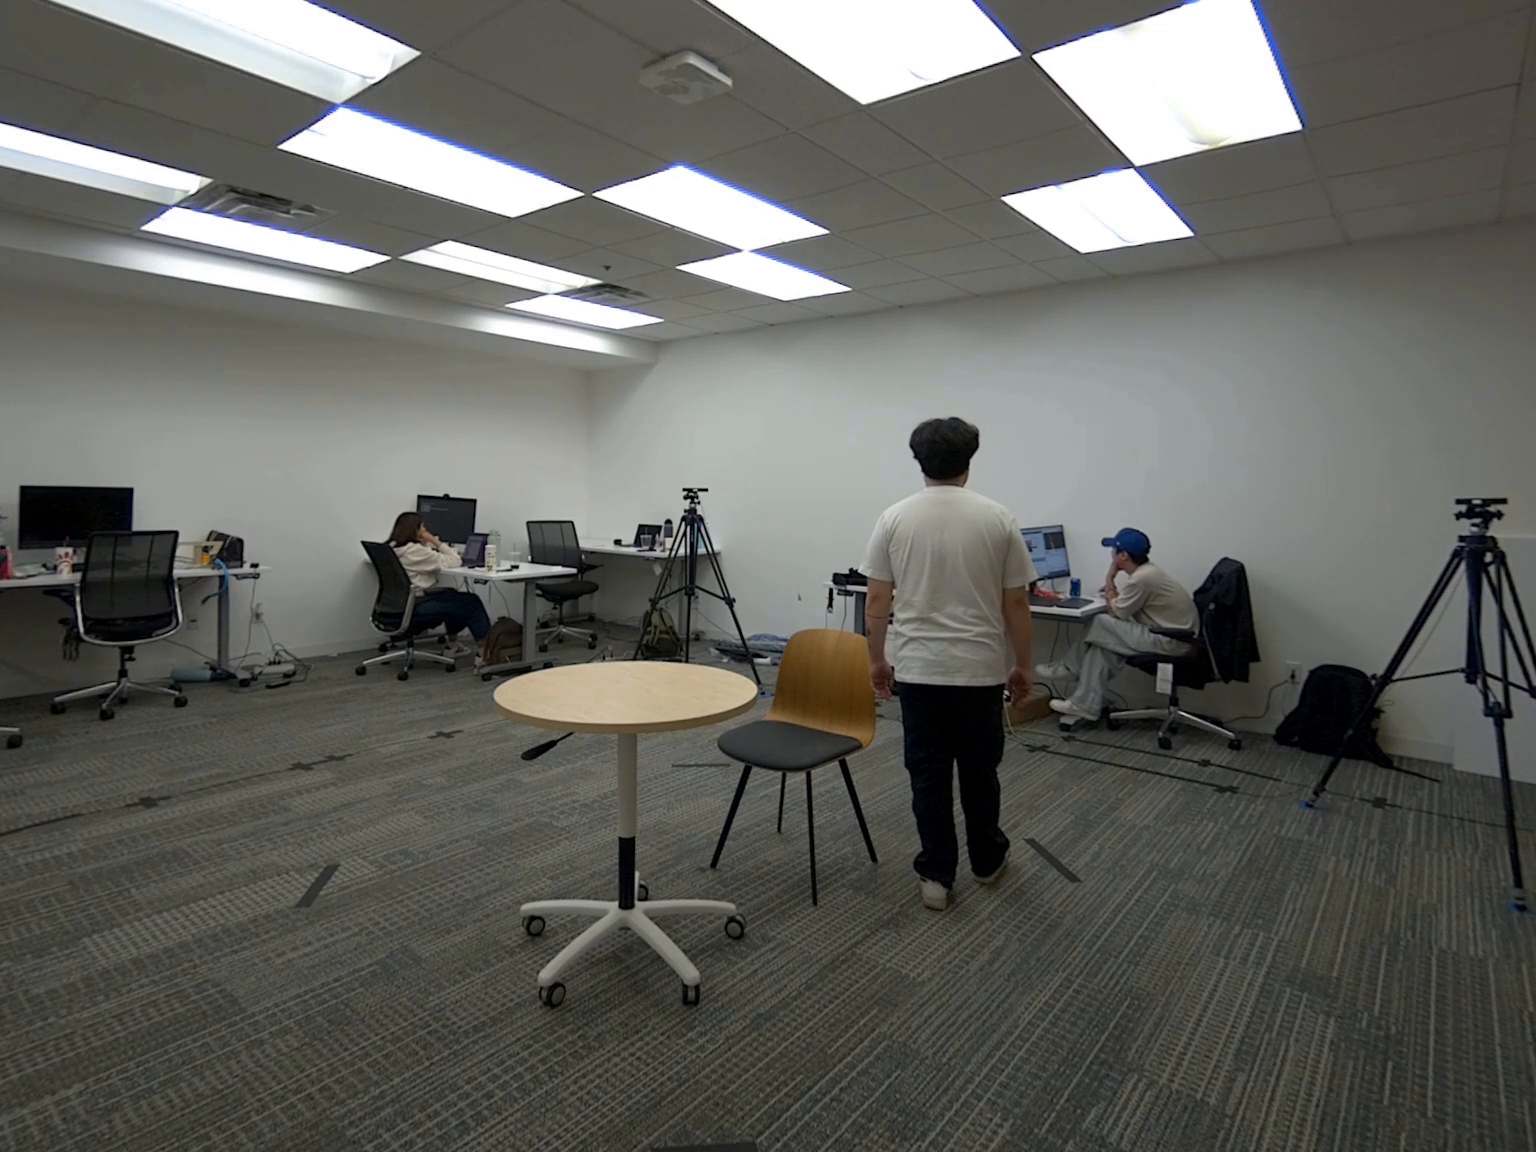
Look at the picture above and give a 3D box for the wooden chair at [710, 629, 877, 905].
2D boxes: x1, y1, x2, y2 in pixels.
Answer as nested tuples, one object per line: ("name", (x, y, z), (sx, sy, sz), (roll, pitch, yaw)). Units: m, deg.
("wooden chair", (0.097, 0.646, 3.132), (0.494, 0.877, 0.506), (5, 0, 37))
